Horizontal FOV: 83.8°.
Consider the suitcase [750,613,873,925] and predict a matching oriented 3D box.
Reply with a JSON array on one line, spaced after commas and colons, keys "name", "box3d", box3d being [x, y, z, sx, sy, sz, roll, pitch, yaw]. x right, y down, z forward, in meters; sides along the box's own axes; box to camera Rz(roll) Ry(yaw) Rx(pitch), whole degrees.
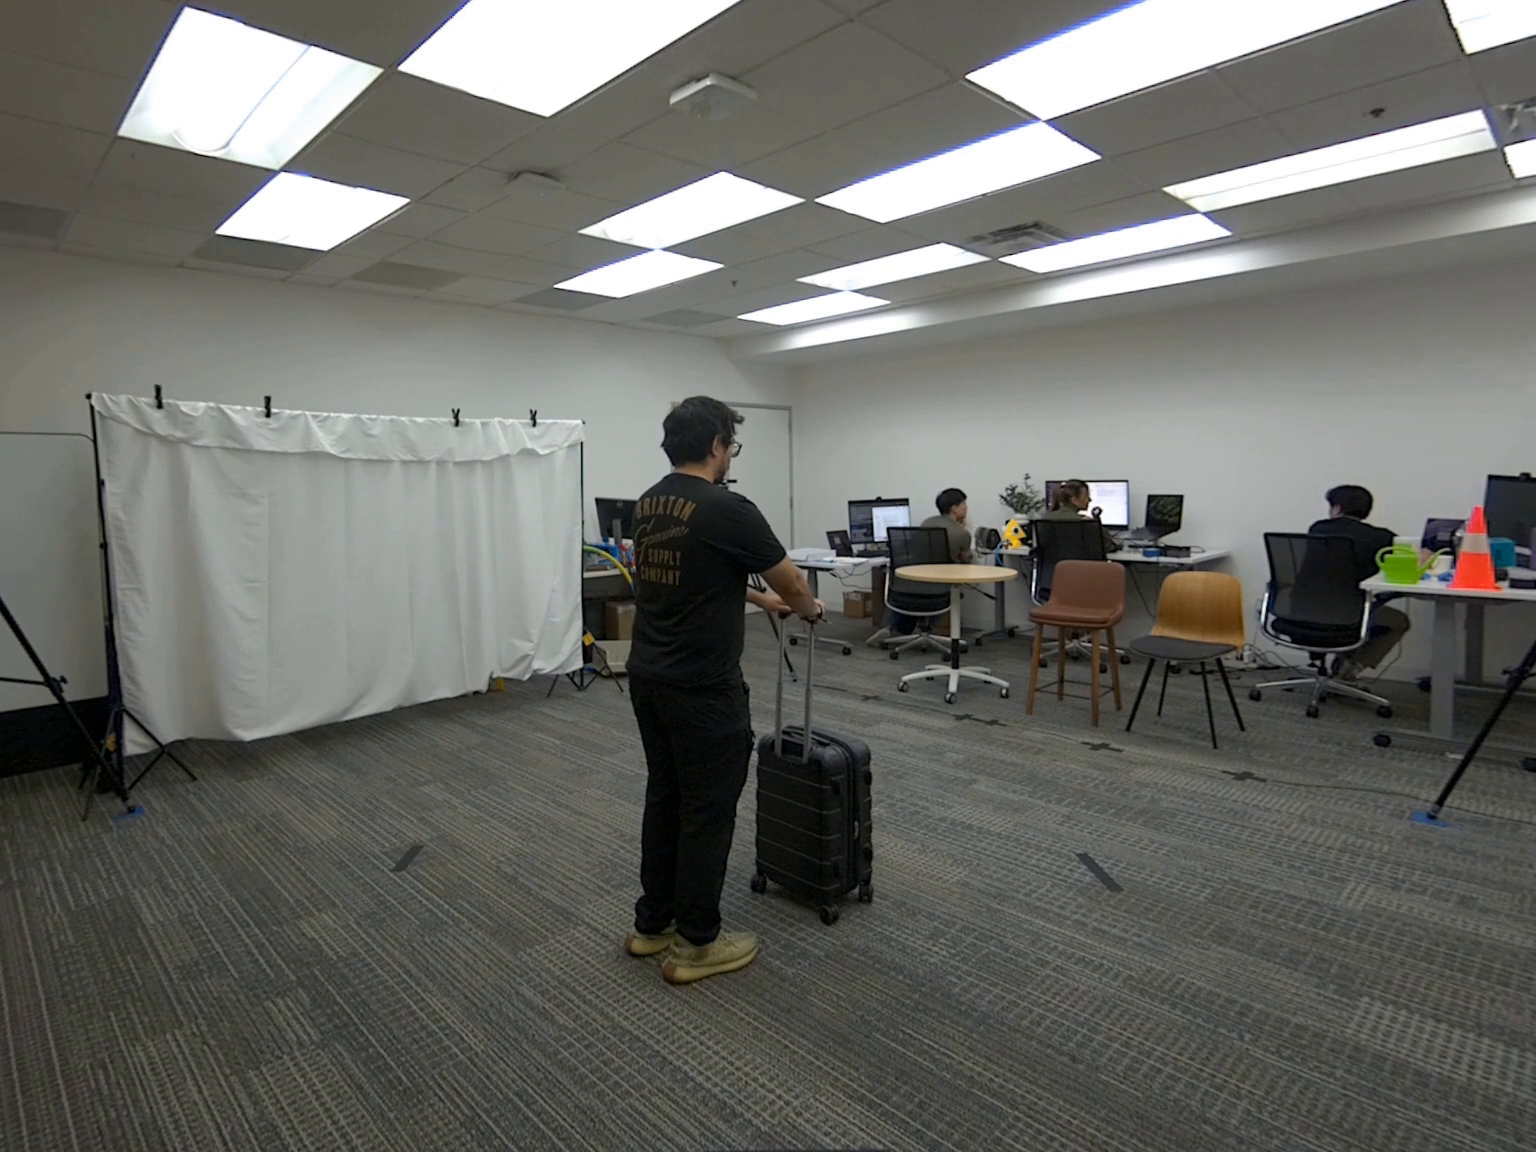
[{"name": "suitcase", "box3d": [0.160, 0.595, 2.871, 0.249, 0.978, 0.395, 1, 1, -43]}]
